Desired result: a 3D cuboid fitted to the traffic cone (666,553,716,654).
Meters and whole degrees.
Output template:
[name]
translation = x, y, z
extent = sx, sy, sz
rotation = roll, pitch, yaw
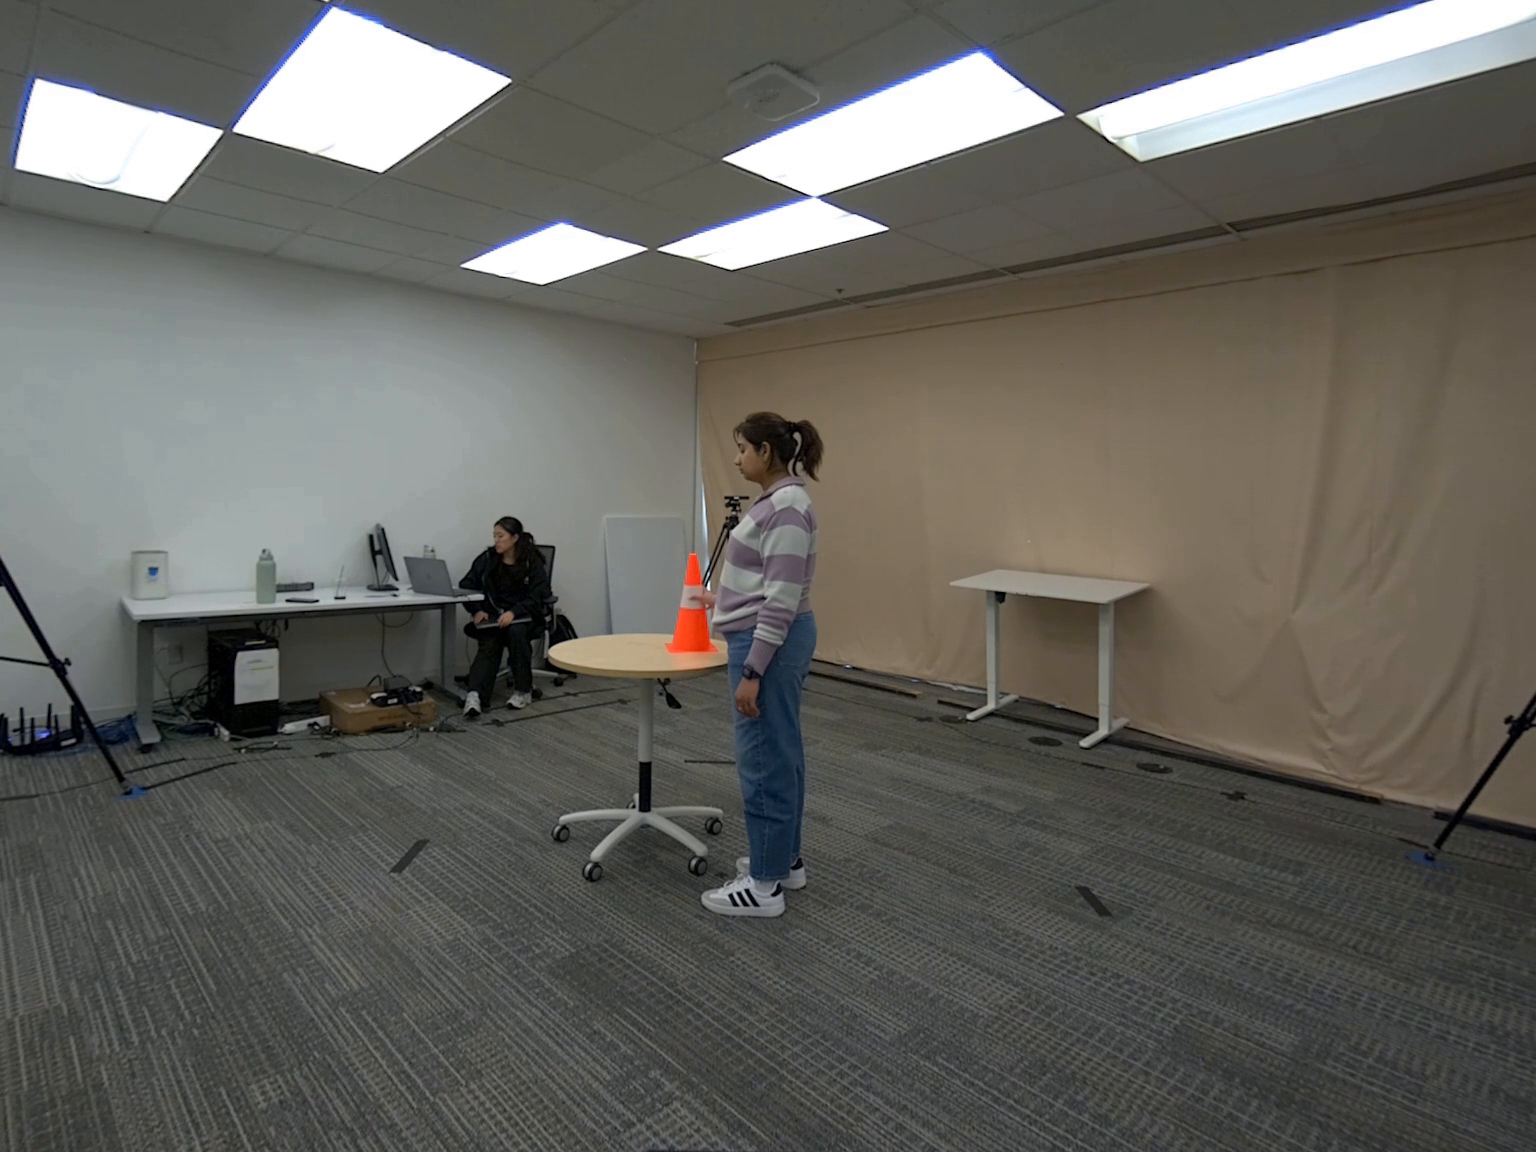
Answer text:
[traffic cone]
translation = -0.303, 0.106, 3.374
extent = 0.203, 0.383, 0.206
rotation = 3, 4, -11
